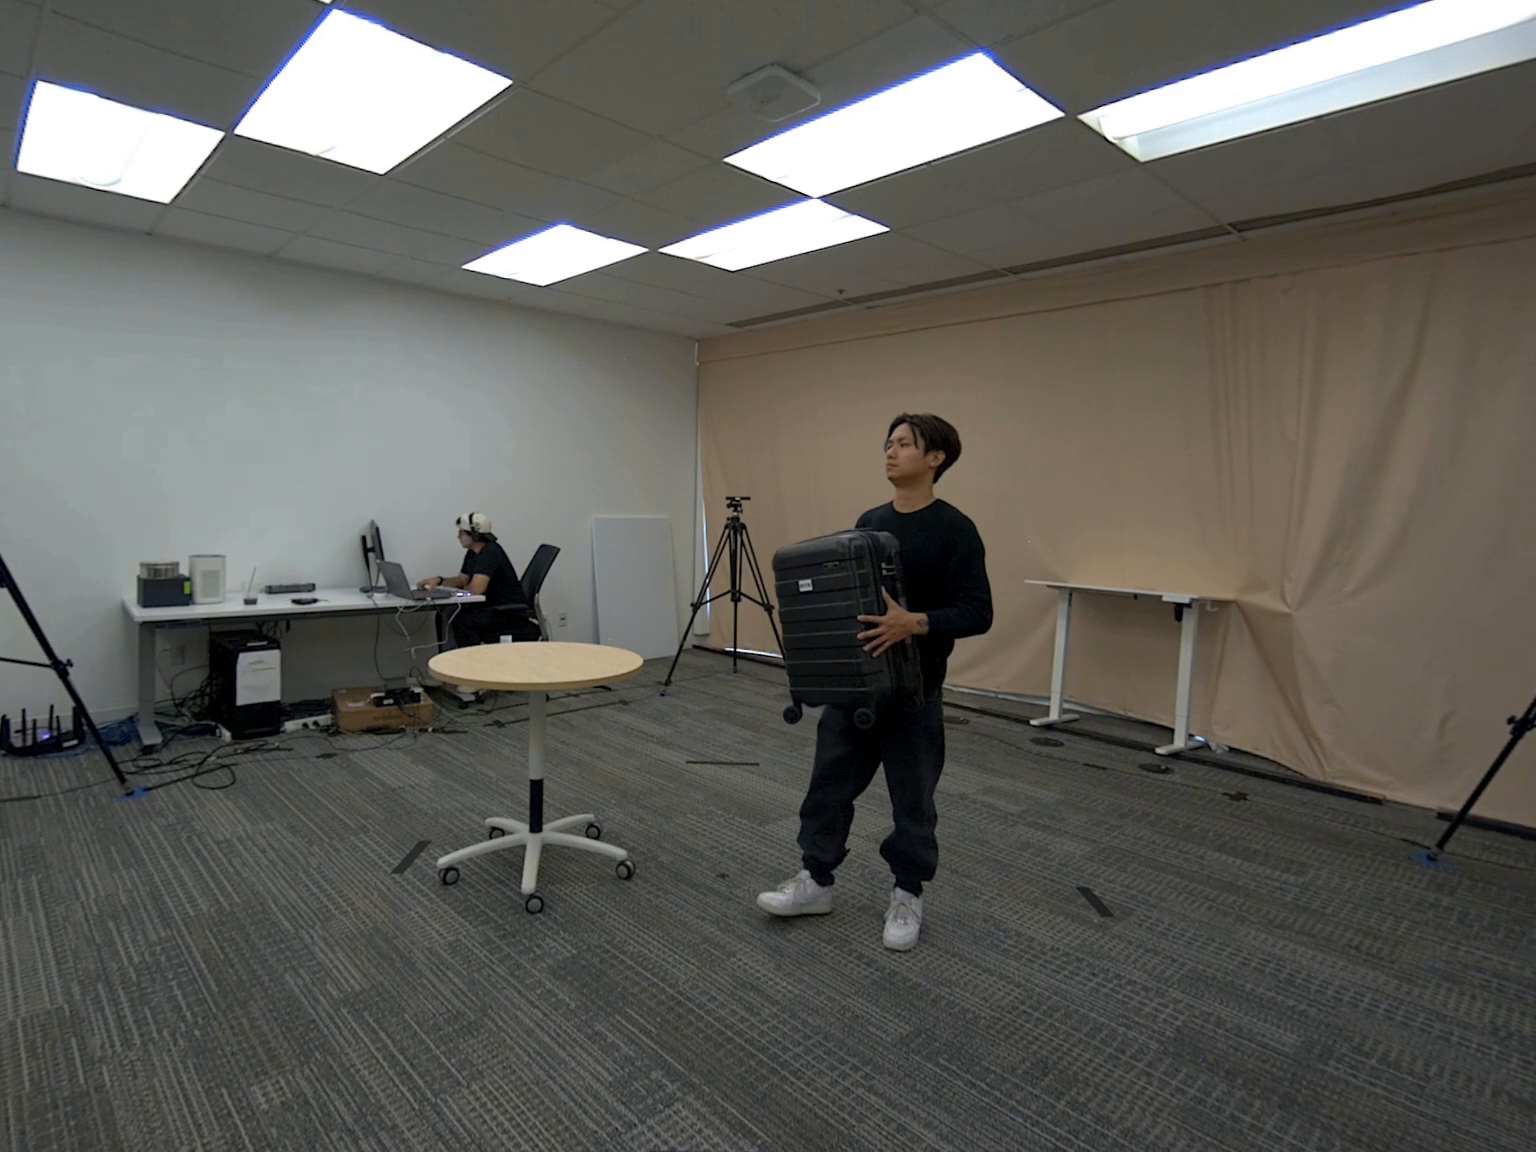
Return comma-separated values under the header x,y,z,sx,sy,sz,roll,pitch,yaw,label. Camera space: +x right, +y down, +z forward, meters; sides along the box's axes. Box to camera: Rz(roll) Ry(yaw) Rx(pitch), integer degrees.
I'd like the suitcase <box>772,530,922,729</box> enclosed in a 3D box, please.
x,y,z,sx,sy,sz,roll,pitch,yaw,label
0.224,0.146,2.508,0.243,0.550,0.383,-7,-1,-42,suitcase
